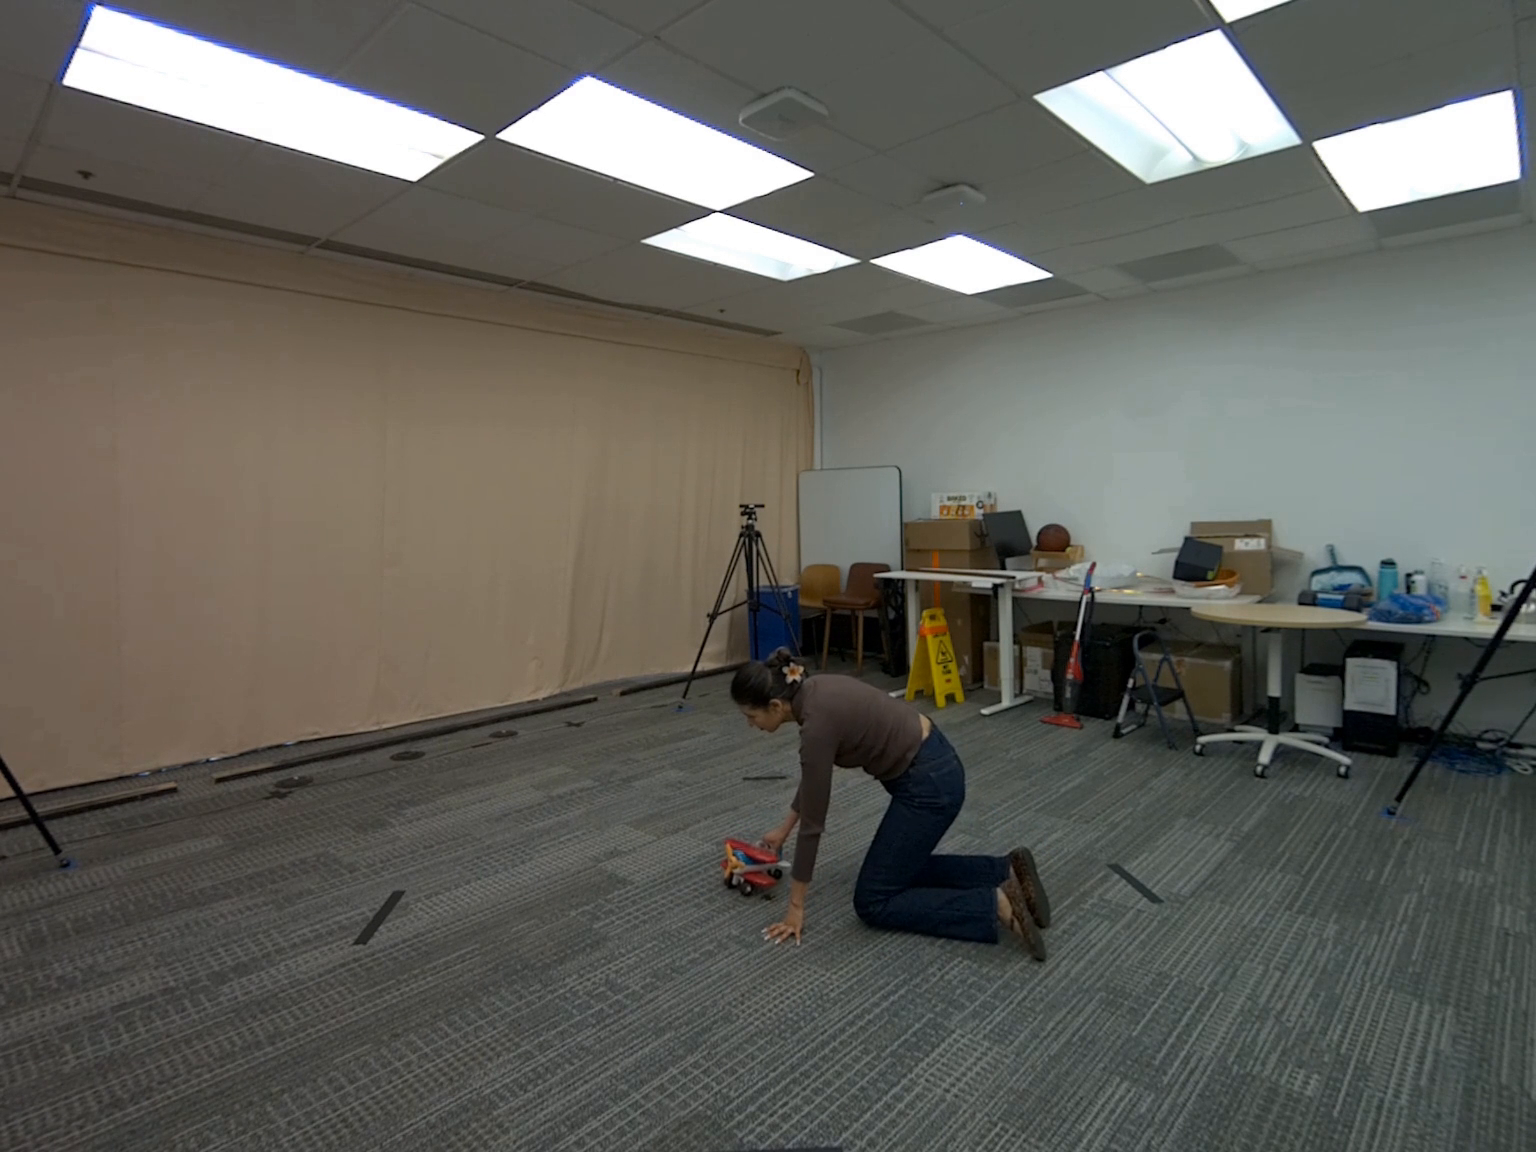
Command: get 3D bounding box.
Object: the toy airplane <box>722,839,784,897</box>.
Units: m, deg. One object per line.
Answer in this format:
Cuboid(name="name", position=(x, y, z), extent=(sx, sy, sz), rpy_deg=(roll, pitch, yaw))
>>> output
Cuboid(name="toy airplane", position=(-0.049, 1.064, 3.096), extent=(0.256, 0.156, 0.255), rpy_deg=(0, 7, 20))
